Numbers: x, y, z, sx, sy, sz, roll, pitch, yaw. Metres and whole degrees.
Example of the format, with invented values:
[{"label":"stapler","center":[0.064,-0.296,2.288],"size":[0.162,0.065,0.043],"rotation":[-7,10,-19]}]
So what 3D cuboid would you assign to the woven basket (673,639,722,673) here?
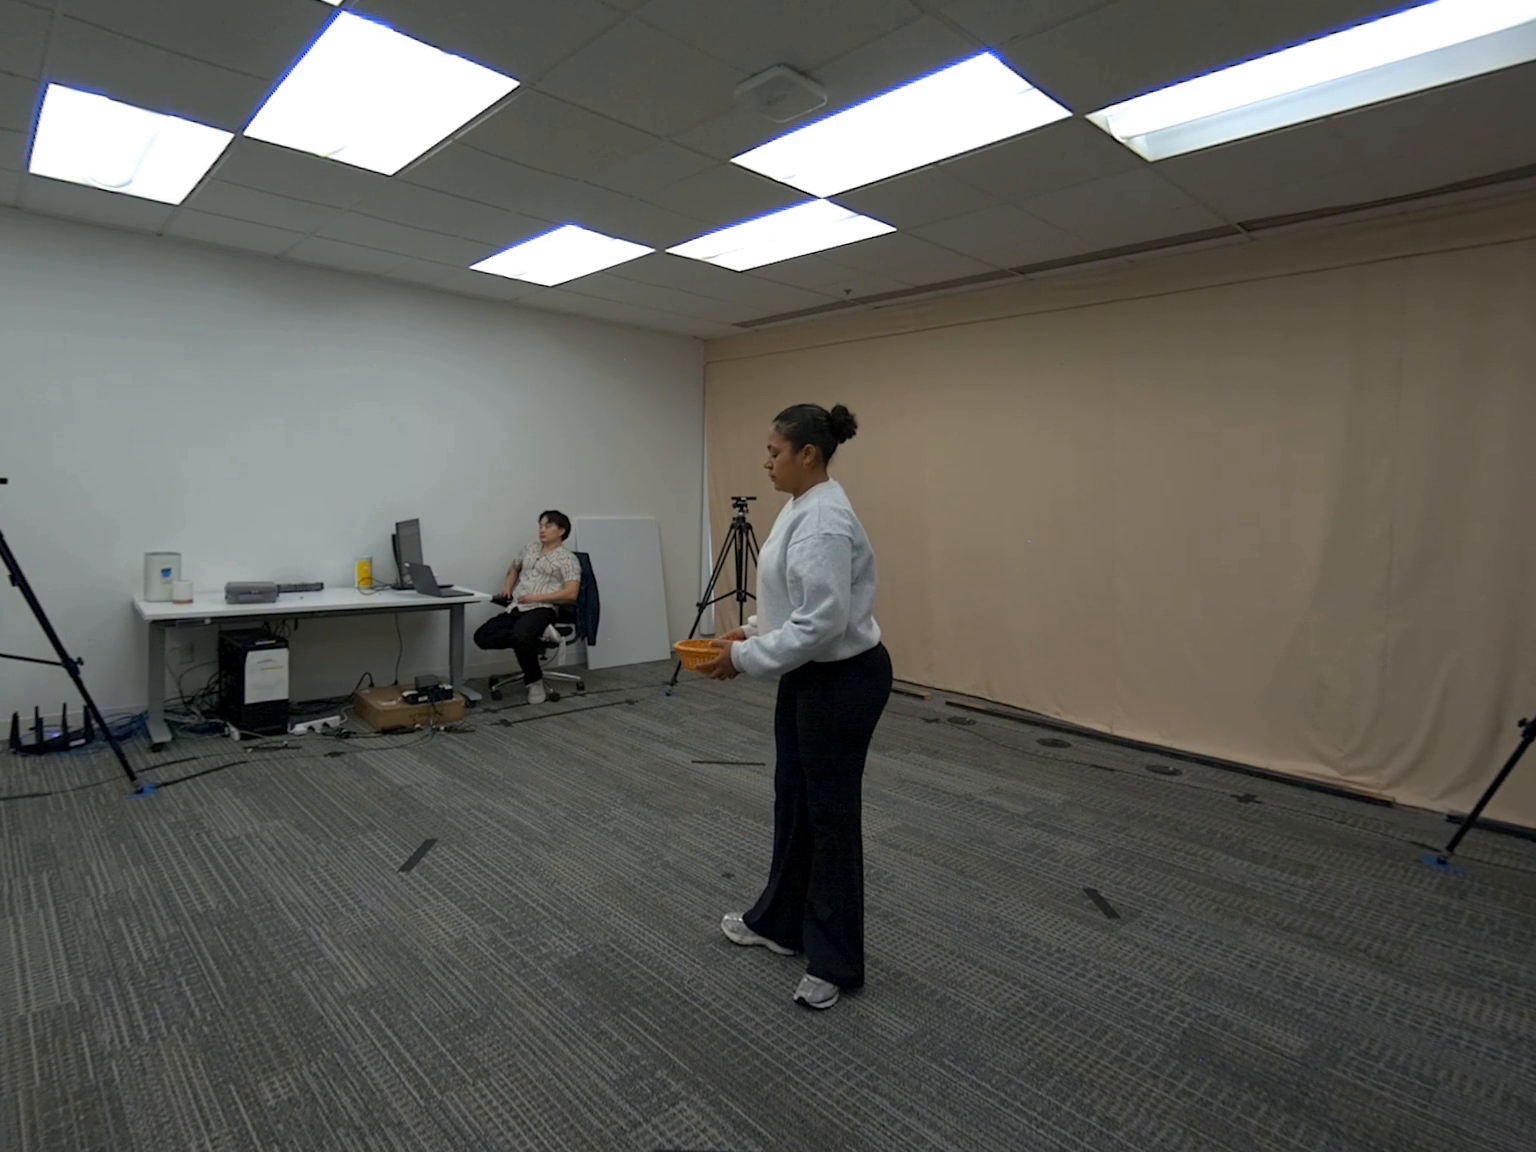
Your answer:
[{"label":"woven basket","center":[-0.135,0.239,2.453],"size":[0.256,0.073,0.345],"rotation":[3,0,15]}]
